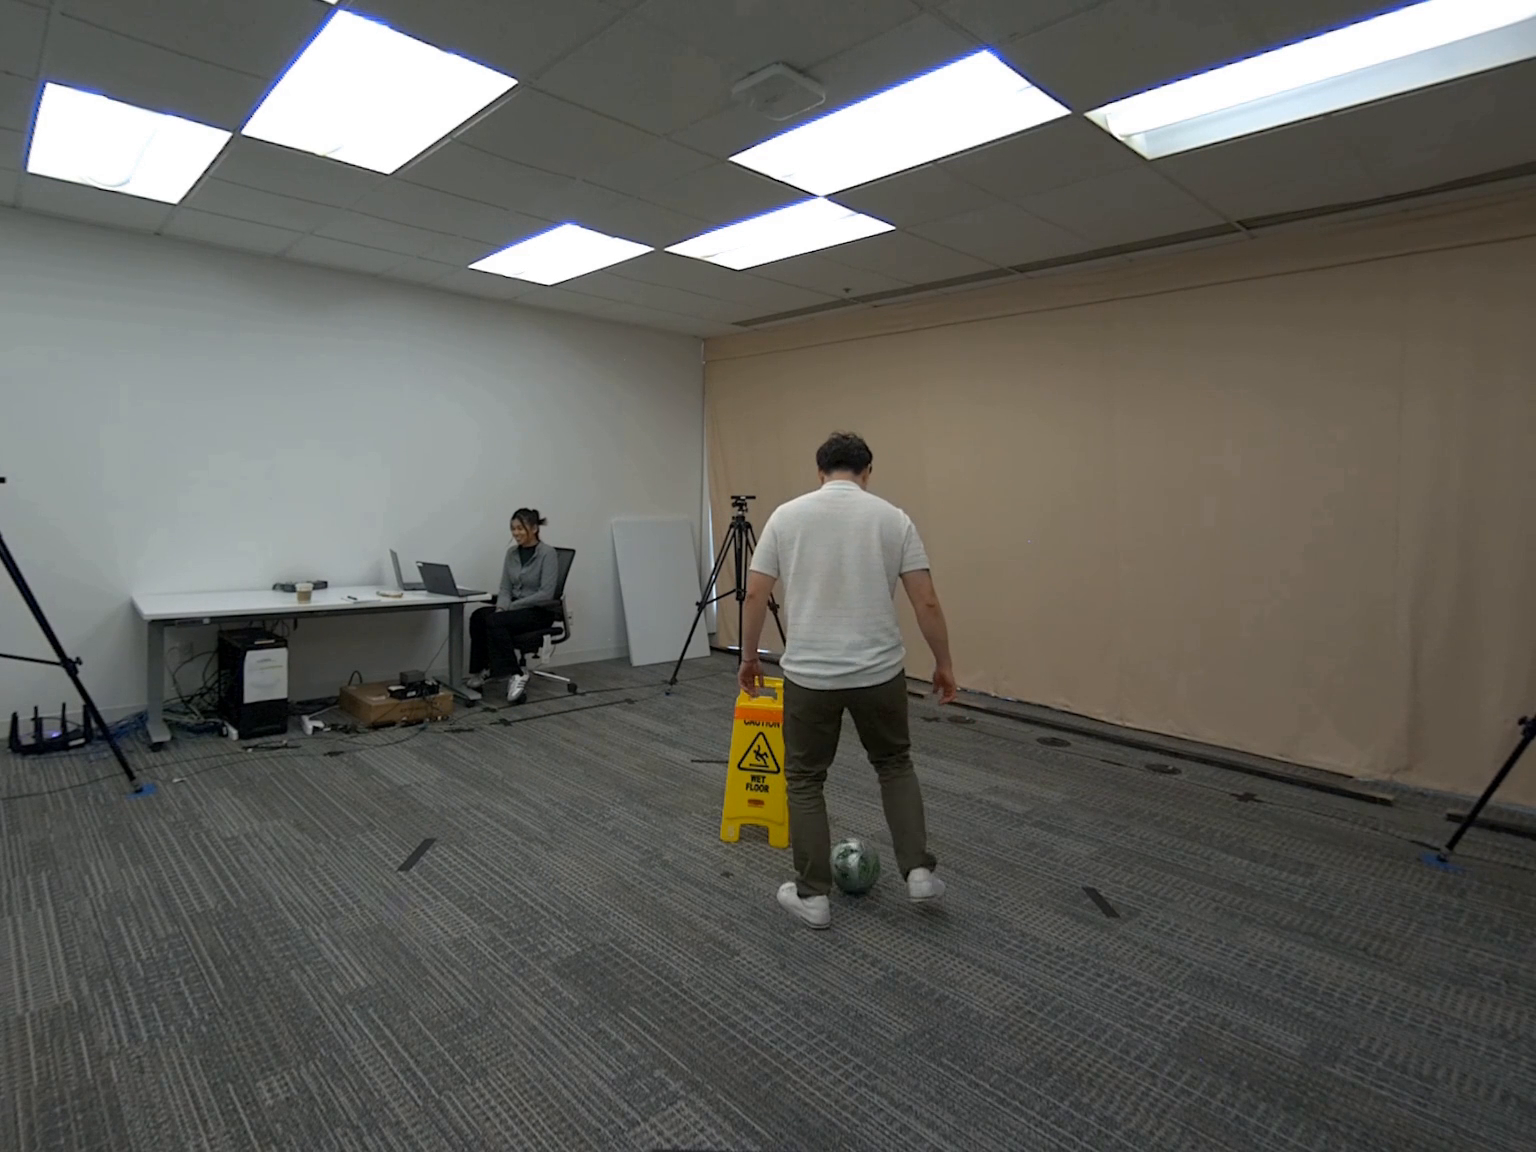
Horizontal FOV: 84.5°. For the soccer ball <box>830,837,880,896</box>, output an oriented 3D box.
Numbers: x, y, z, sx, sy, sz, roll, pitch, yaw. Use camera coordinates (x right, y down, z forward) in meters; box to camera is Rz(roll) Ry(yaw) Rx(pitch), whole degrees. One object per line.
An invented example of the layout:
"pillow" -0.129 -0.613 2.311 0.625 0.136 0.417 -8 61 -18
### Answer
"soccer ball" 0.299 1.028 2.991 0.187 0.187 0.188 1 4 -1
